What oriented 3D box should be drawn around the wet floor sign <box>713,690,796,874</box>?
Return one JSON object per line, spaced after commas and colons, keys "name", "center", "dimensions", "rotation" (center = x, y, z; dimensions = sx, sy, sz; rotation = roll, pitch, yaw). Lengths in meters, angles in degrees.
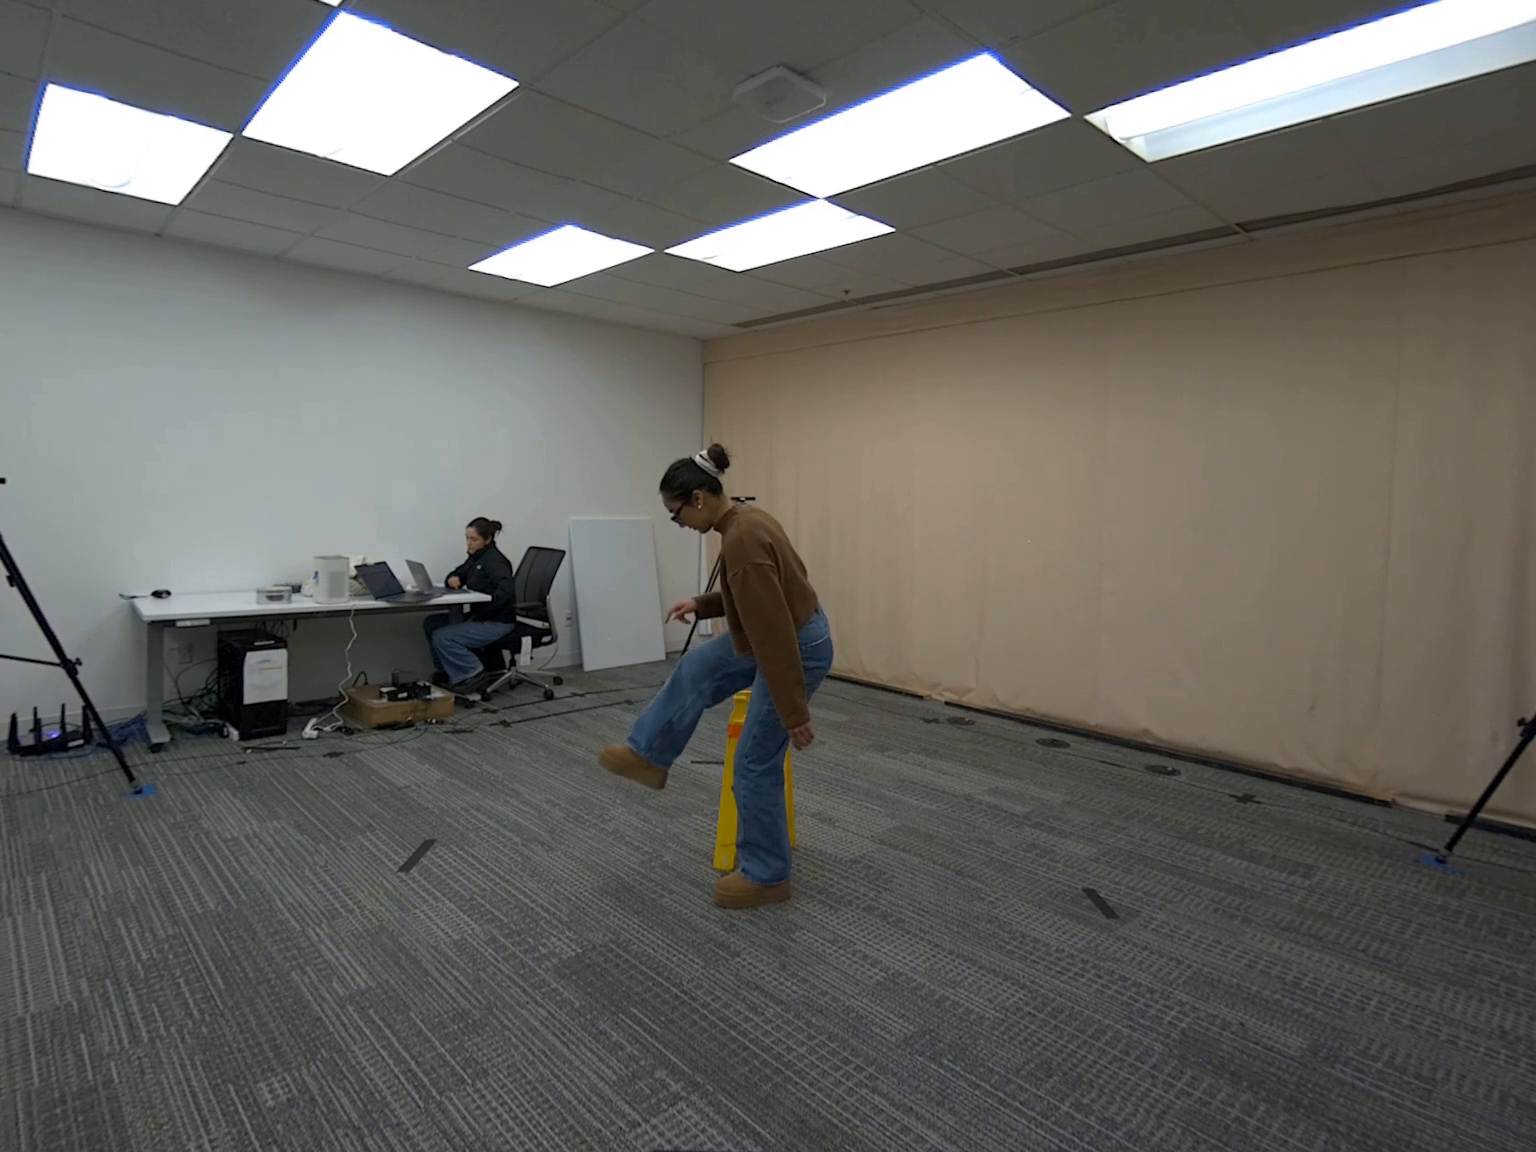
{"name": "wet floor sign", "center": [-0.054, 0.778, 3.256], "dimensions": [0.284, 0.644, 0.288], "rotation": [3, 3, 8]}
